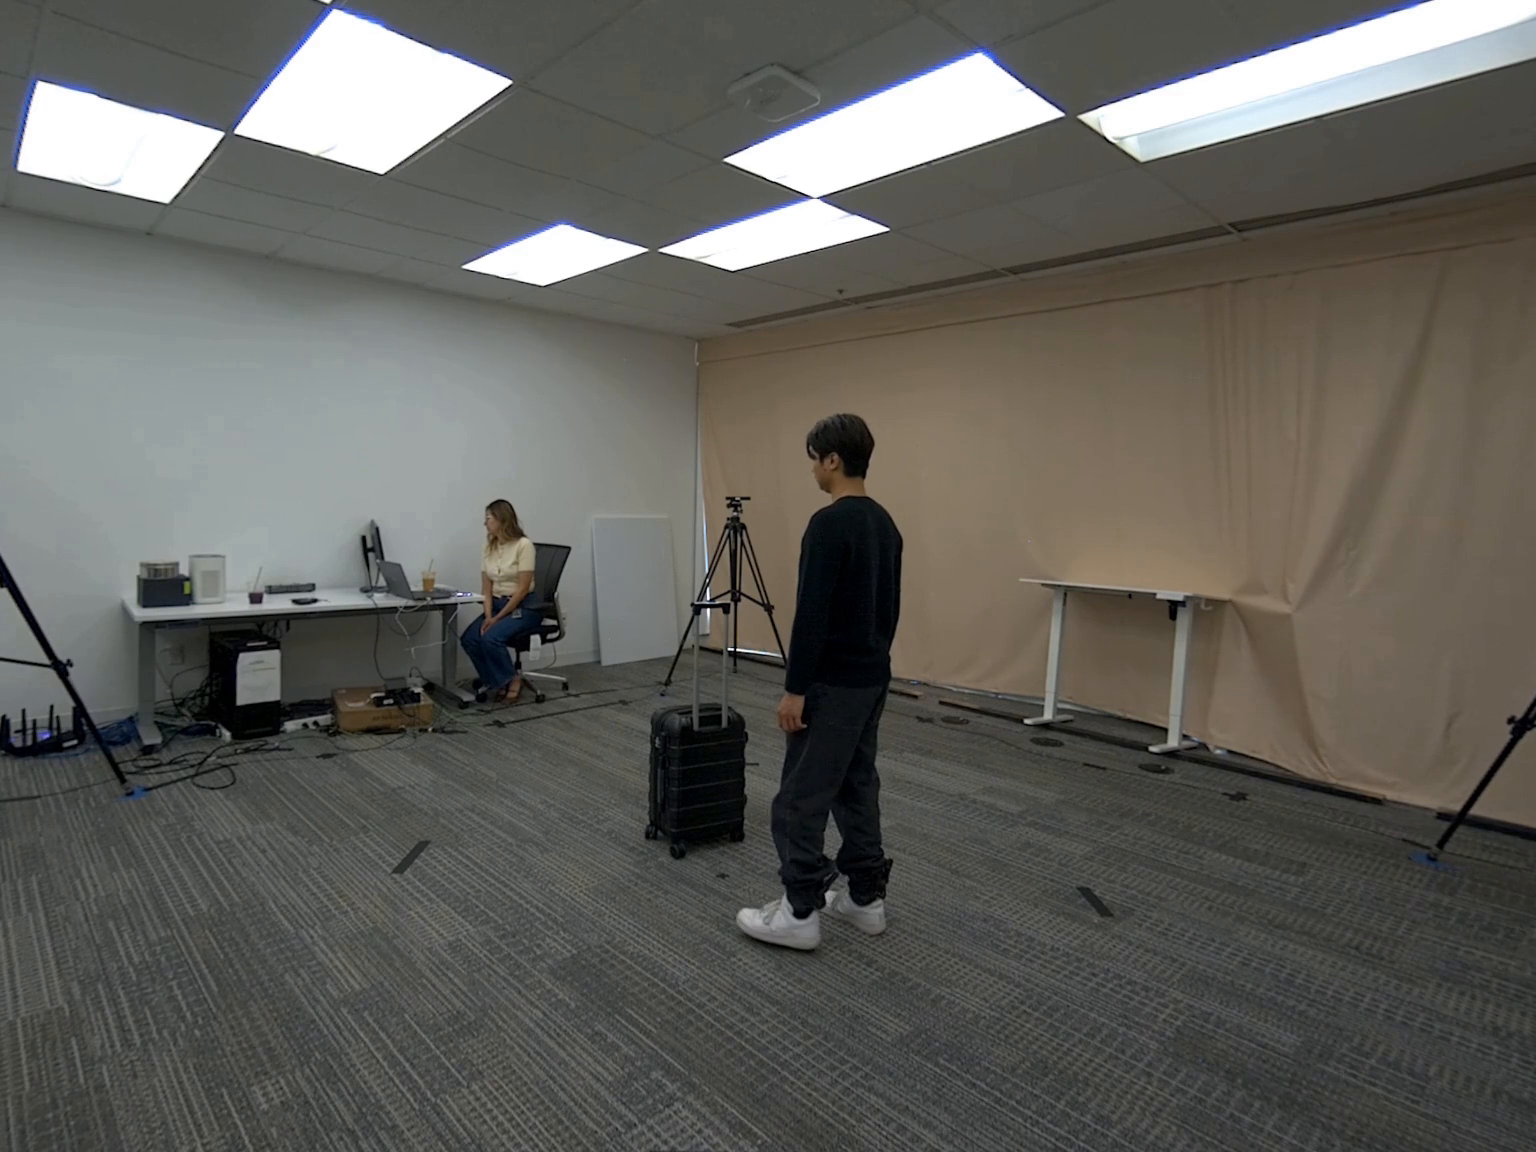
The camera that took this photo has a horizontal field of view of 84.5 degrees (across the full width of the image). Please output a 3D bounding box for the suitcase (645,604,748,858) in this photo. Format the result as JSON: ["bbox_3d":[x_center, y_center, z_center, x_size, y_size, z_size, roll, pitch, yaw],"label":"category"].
[{"bbox_3d":[-0.294,0.597,3.417,0.376,0.979,0.262,1,0,-30],"label":"suitcase"}]
